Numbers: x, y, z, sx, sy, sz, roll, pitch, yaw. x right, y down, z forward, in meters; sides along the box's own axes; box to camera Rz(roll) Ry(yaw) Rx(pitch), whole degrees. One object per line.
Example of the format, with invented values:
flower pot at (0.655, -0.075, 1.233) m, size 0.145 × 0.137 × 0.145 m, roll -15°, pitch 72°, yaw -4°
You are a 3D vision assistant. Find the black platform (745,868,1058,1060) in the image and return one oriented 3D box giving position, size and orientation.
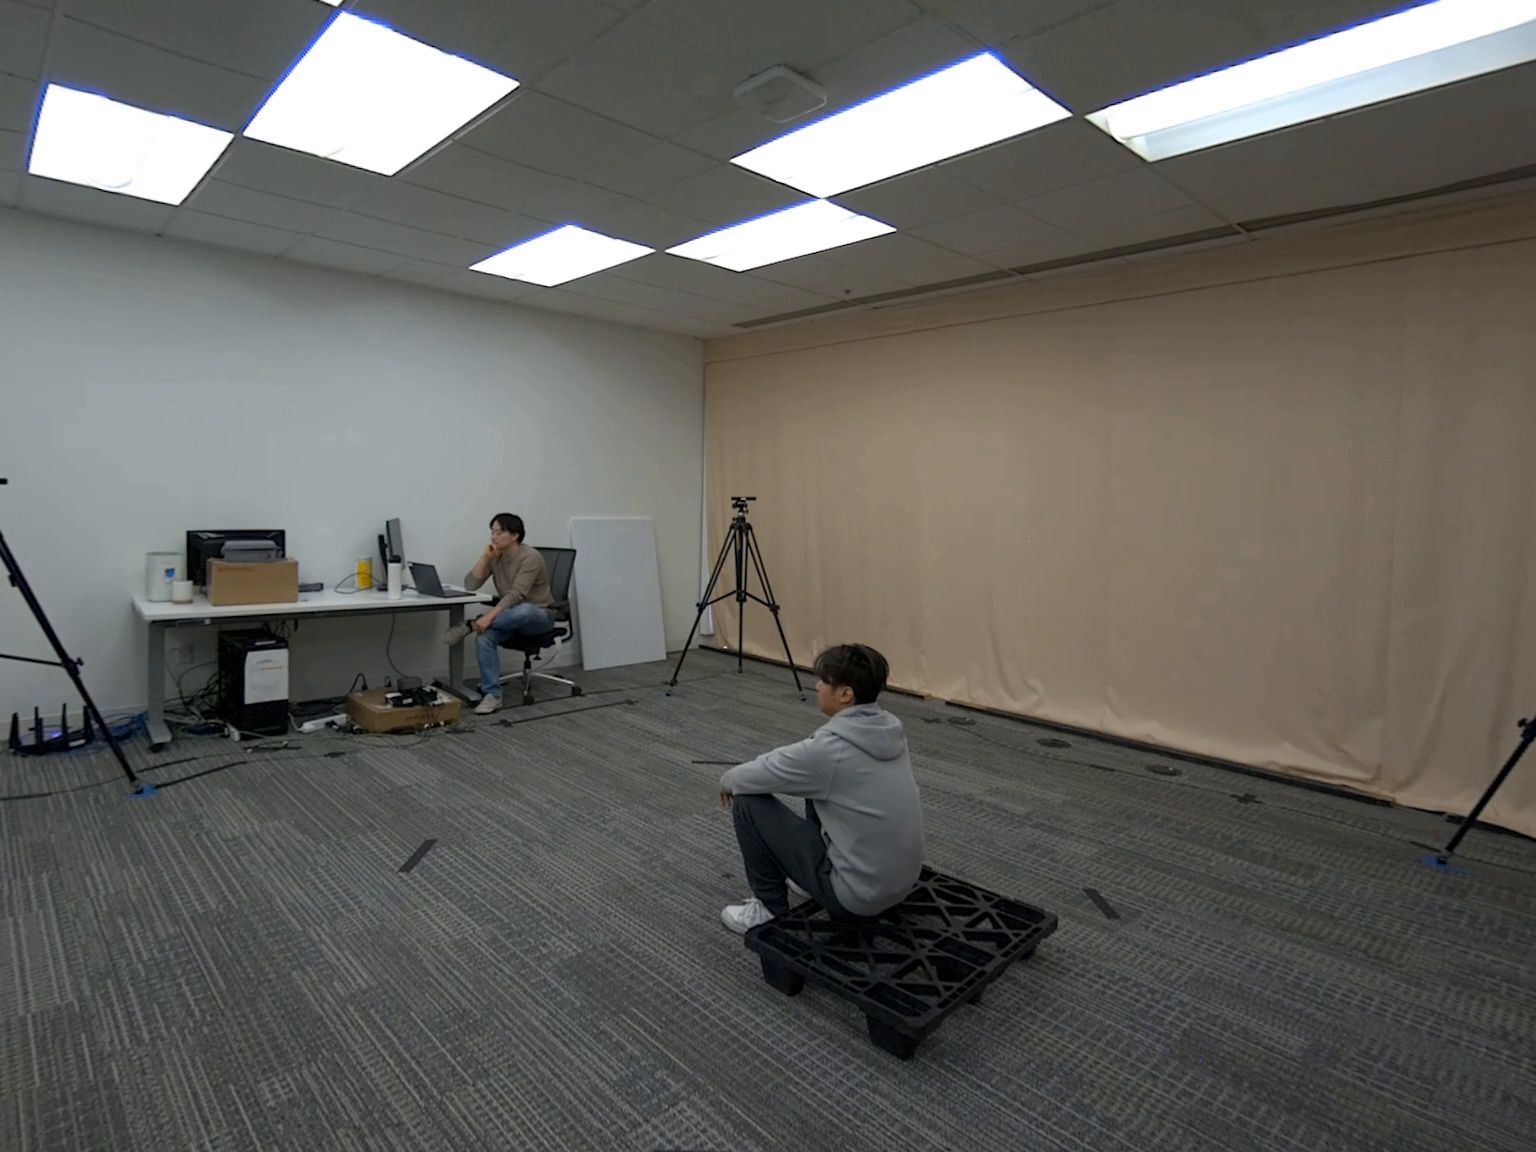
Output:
black platform at (0.401, 1.109, 2.516) m, size 0.620 × 0.143 × 0.787 m, roll 6°, pitch 7°, yaw 43°
